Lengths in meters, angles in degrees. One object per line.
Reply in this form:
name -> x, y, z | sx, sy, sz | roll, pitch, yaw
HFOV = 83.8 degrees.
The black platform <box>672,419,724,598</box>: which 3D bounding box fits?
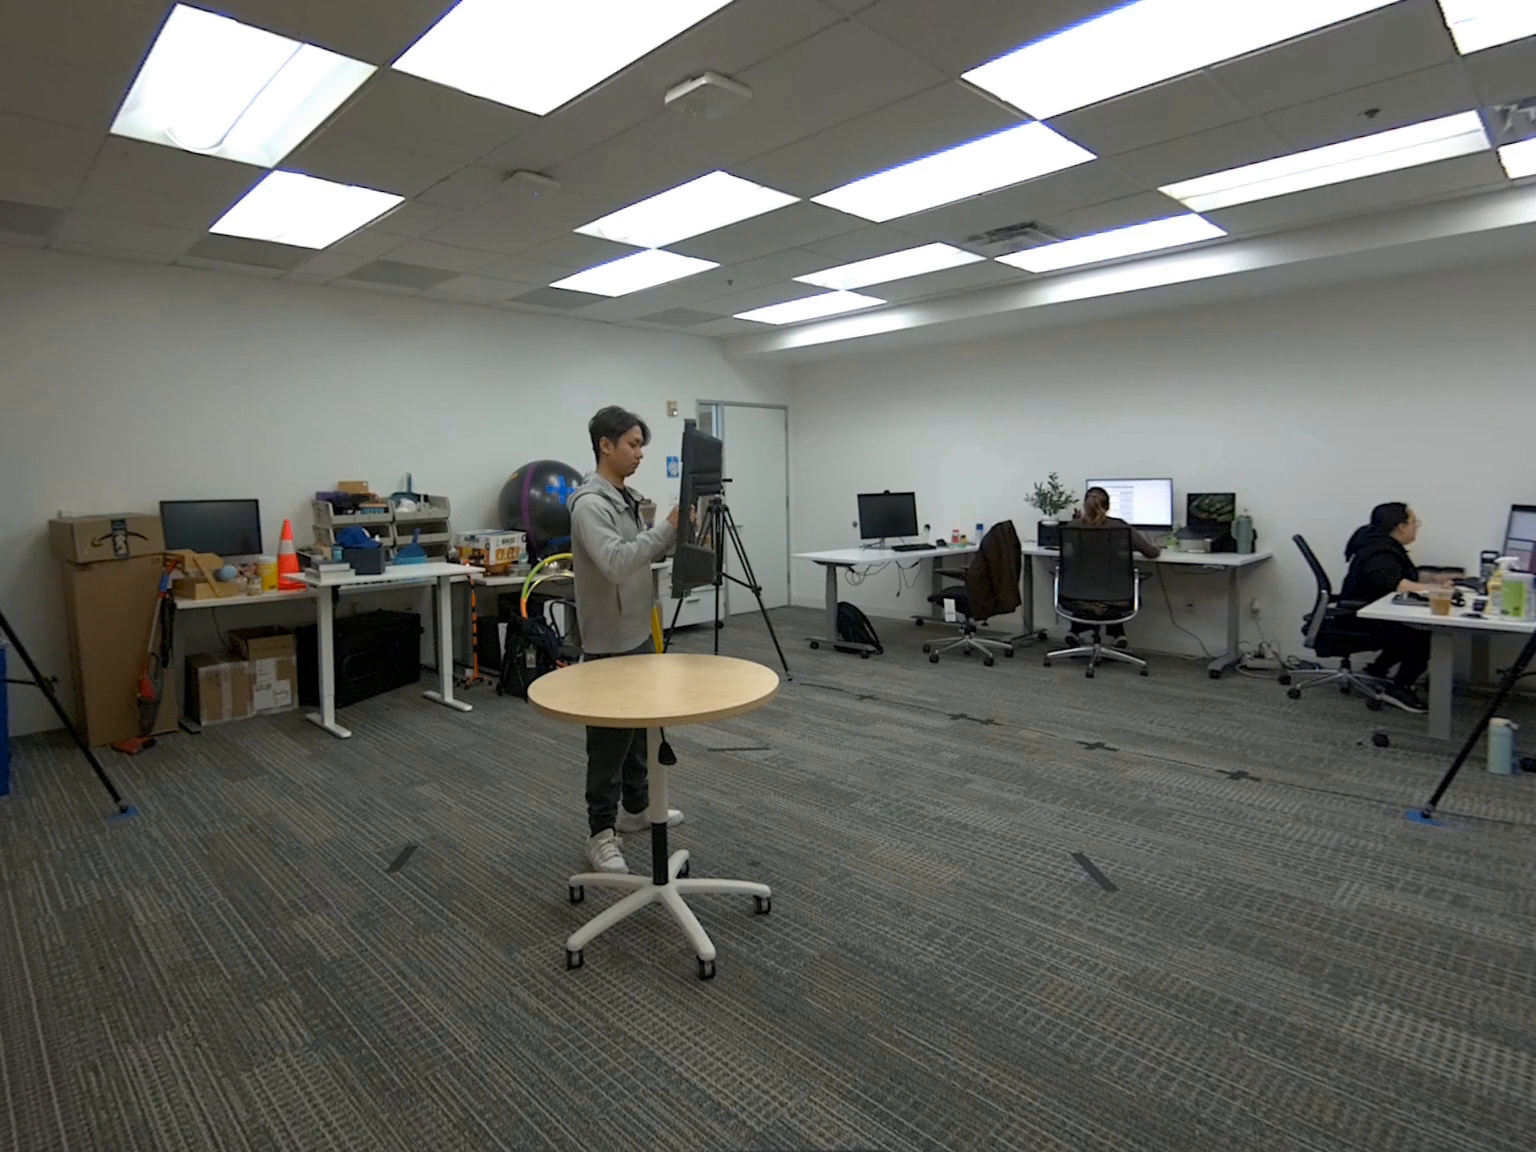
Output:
black platform -> -0.255, -0.215, 3.194 | 0.143, 0.606, 0.805 | 3, -1, -2
